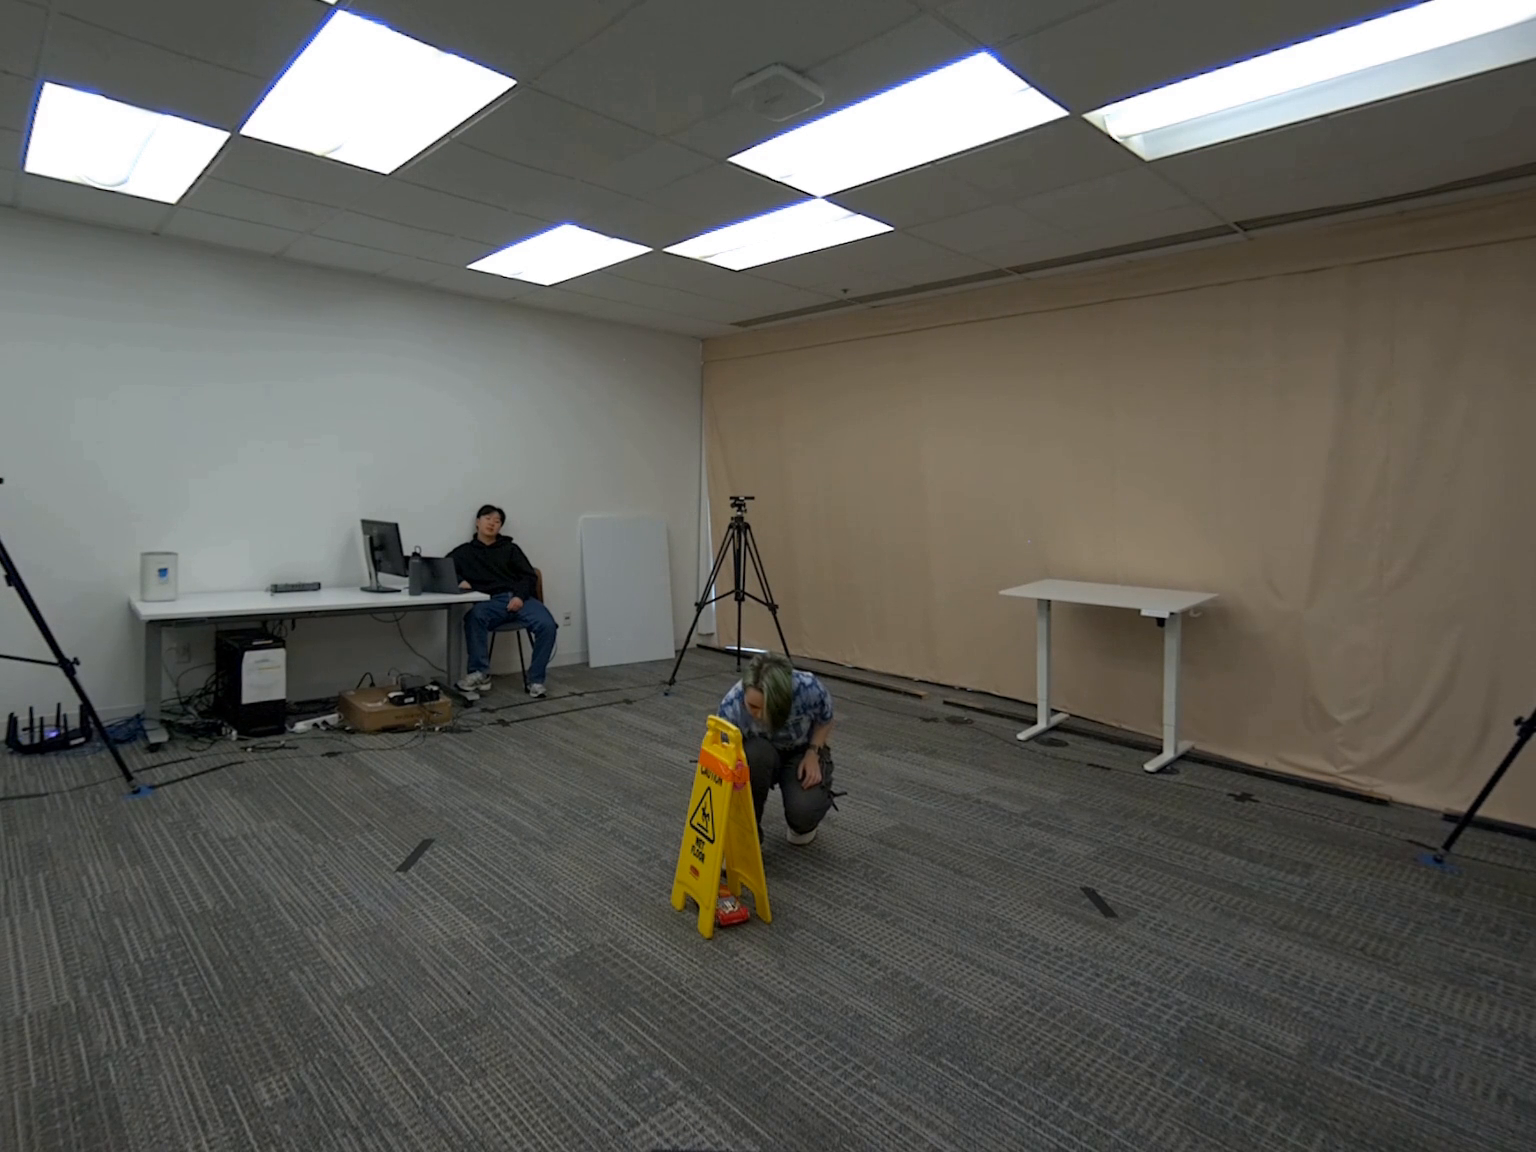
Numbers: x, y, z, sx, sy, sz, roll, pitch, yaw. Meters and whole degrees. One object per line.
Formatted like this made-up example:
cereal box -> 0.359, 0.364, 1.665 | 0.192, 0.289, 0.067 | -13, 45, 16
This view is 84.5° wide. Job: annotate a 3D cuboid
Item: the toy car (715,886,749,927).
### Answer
toy car -> -0.168, 1.092, 2.824 | 0.128, 0.082, 0.261 | -1, 13, -27
